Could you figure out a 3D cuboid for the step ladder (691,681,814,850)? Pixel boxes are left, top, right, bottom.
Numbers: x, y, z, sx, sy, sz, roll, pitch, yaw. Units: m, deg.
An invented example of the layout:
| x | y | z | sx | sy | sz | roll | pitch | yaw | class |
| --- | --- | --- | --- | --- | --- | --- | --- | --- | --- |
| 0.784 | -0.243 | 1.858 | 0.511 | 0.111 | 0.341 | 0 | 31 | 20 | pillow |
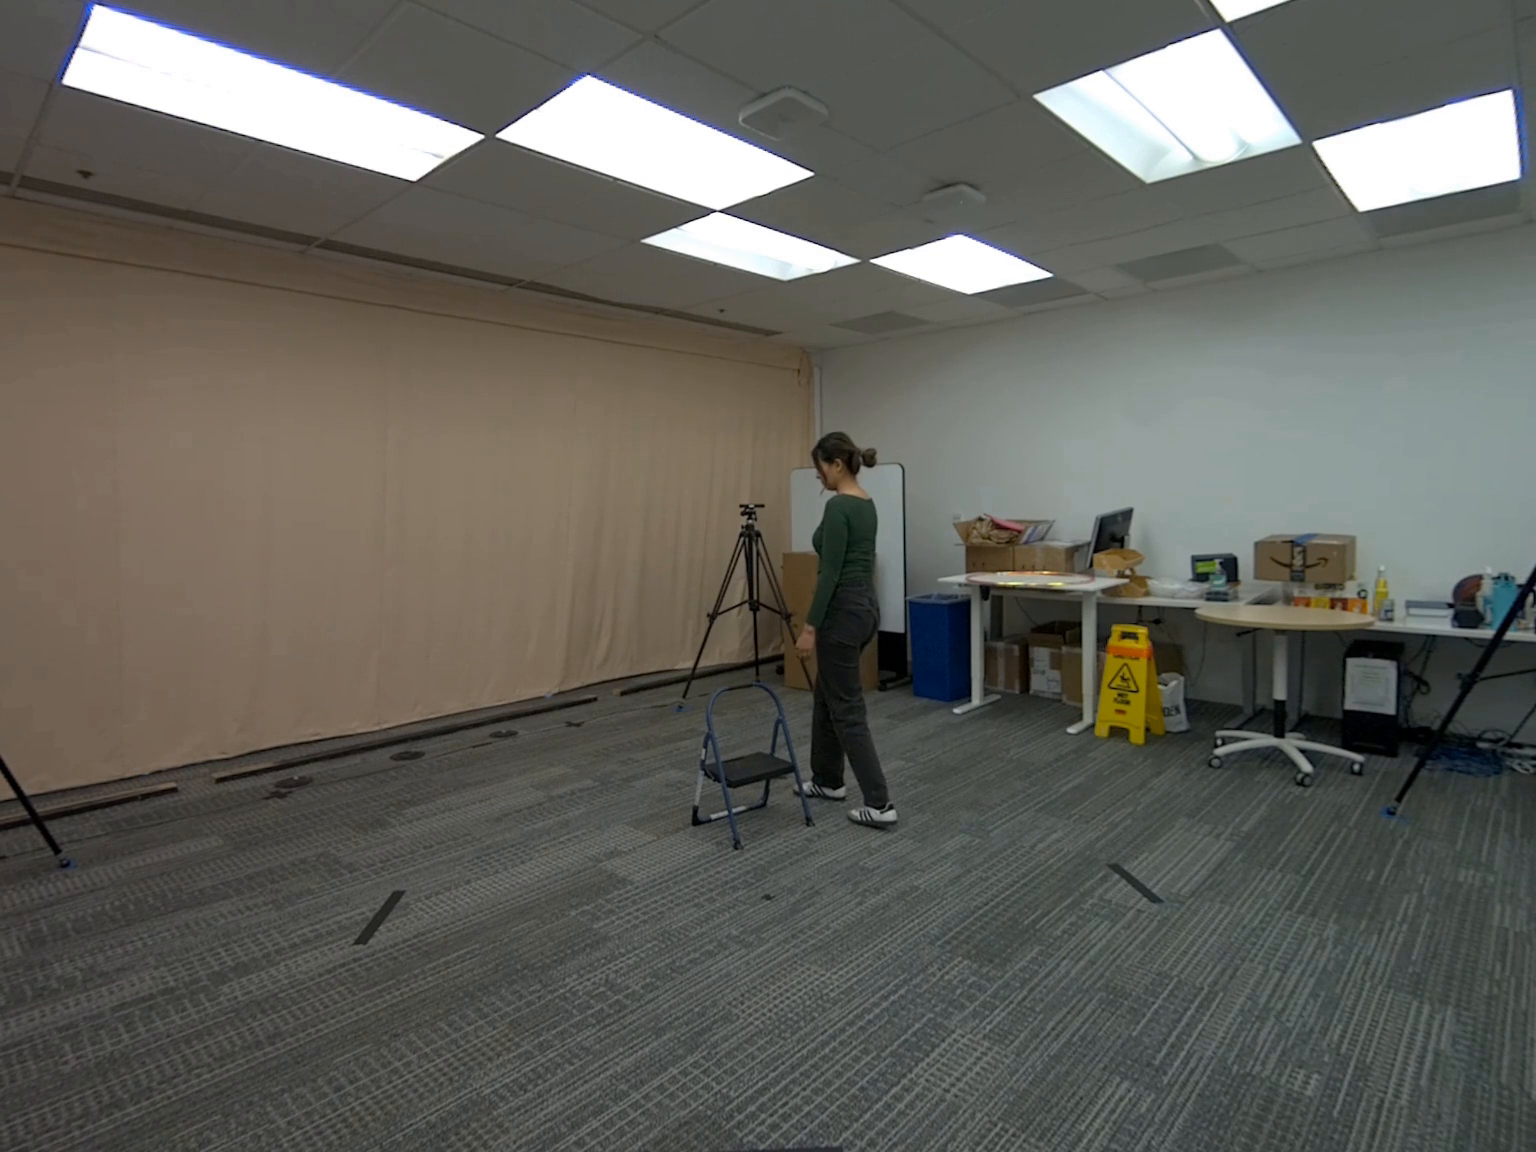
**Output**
| x | y | z | sx | sy | sz | roll | pitch | yaw | class |
| --- | --- | --- | --- | --- | --- | --- | --- | --- | --- |
| -0.072 | 0.783 | 3.647 | 0.418 | 0.605 | 0.360 | -3 | 4 | -39 | step ladder |
